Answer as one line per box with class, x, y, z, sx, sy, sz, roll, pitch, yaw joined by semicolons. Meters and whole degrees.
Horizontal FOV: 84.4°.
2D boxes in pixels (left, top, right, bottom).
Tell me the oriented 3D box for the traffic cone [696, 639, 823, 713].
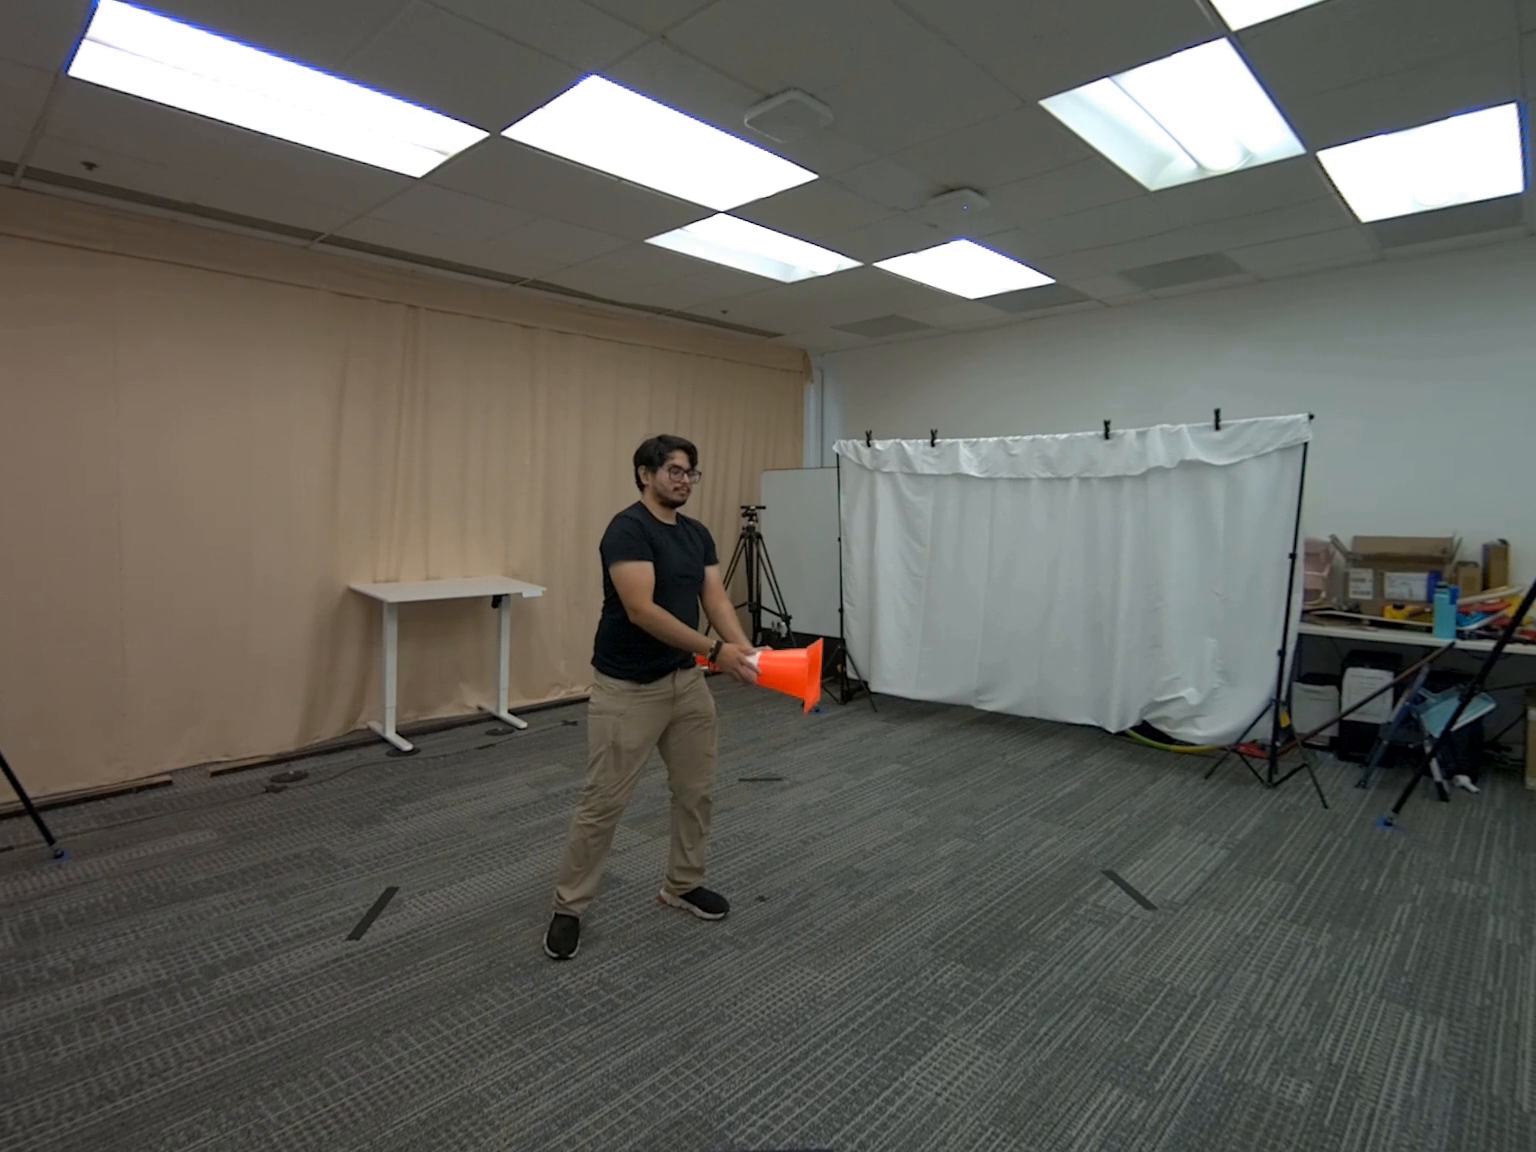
traffic cone;-0.042;0.286;2.603;0.393;0.203;0.201;5;5;21
